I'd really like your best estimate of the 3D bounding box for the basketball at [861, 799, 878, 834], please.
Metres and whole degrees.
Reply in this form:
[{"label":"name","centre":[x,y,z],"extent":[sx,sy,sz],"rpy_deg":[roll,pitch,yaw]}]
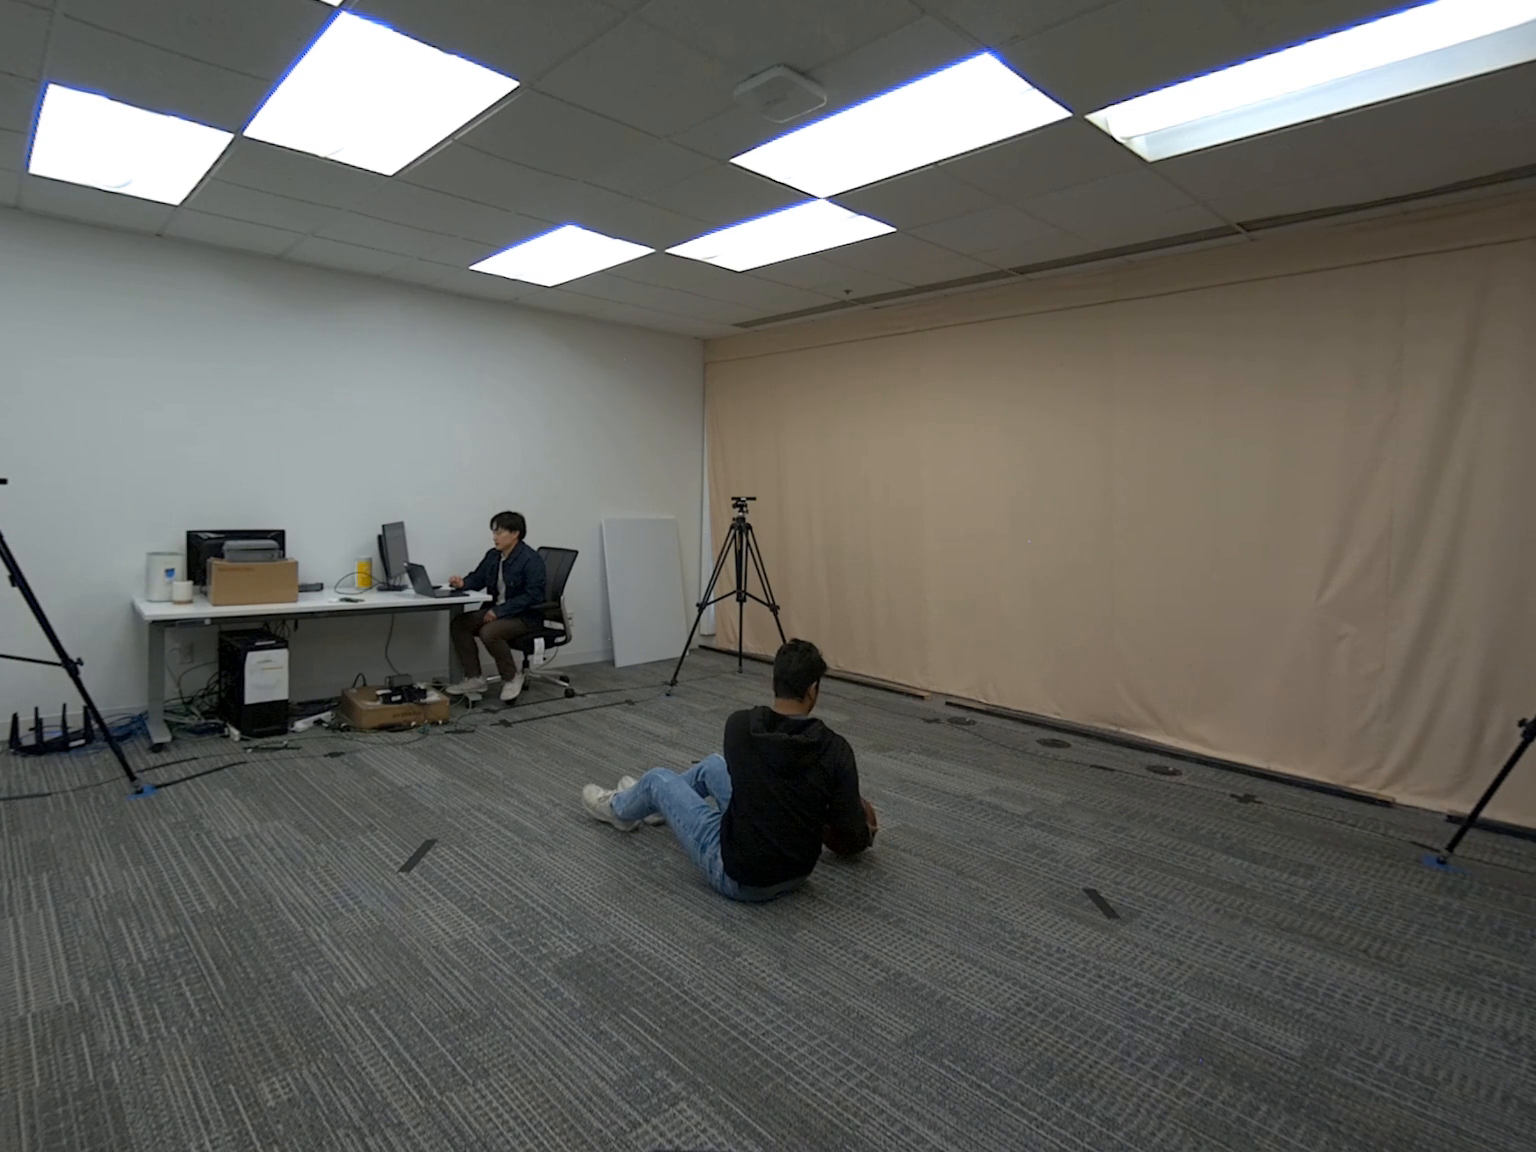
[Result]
[{"label":"basketball","centre":[0.294,0.969,3.315],"extent":[0.236,0.235,0.237],"rpy_deg":[1,4,-1]}]
